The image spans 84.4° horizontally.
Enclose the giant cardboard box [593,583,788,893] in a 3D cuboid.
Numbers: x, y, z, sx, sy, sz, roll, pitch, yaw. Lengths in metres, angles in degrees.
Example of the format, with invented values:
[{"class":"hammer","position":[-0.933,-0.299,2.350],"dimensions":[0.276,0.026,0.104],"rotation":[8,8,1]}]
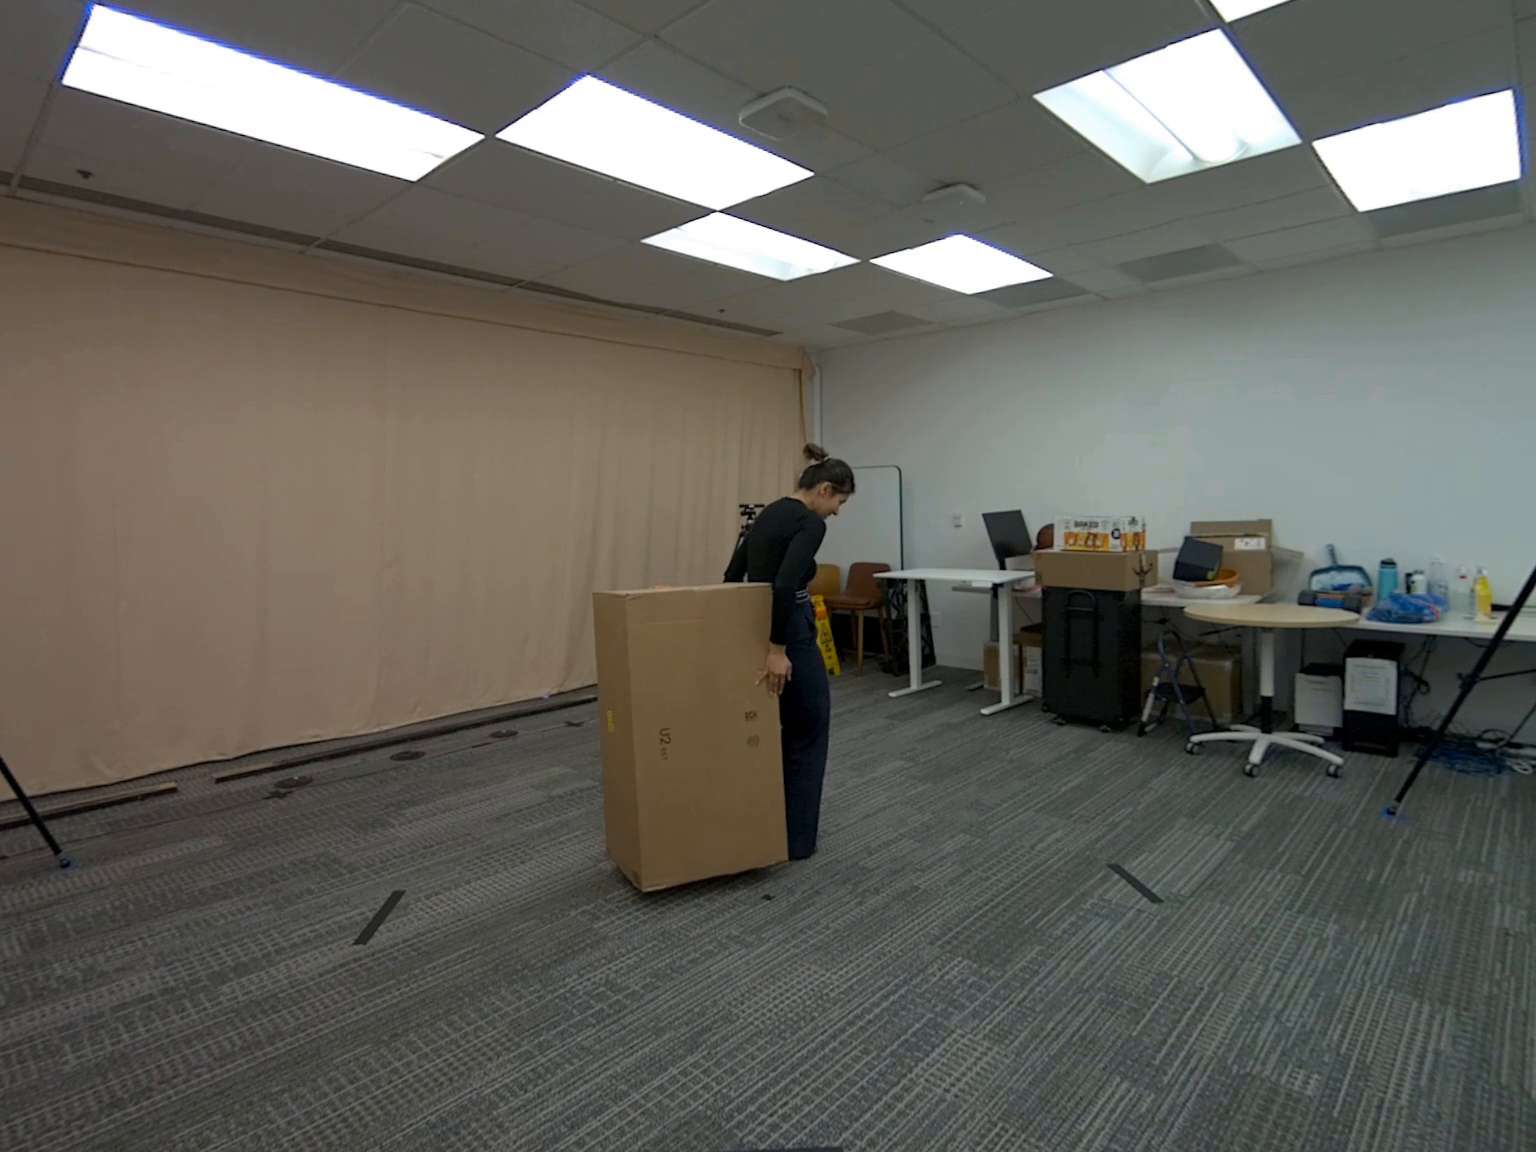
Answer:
[{"class":"giant cardboard box","position":[-0.304,0.556,3.183],"dimensions":[0.564,1.026,0.436],"rotation":[-3,0,-25]}]
